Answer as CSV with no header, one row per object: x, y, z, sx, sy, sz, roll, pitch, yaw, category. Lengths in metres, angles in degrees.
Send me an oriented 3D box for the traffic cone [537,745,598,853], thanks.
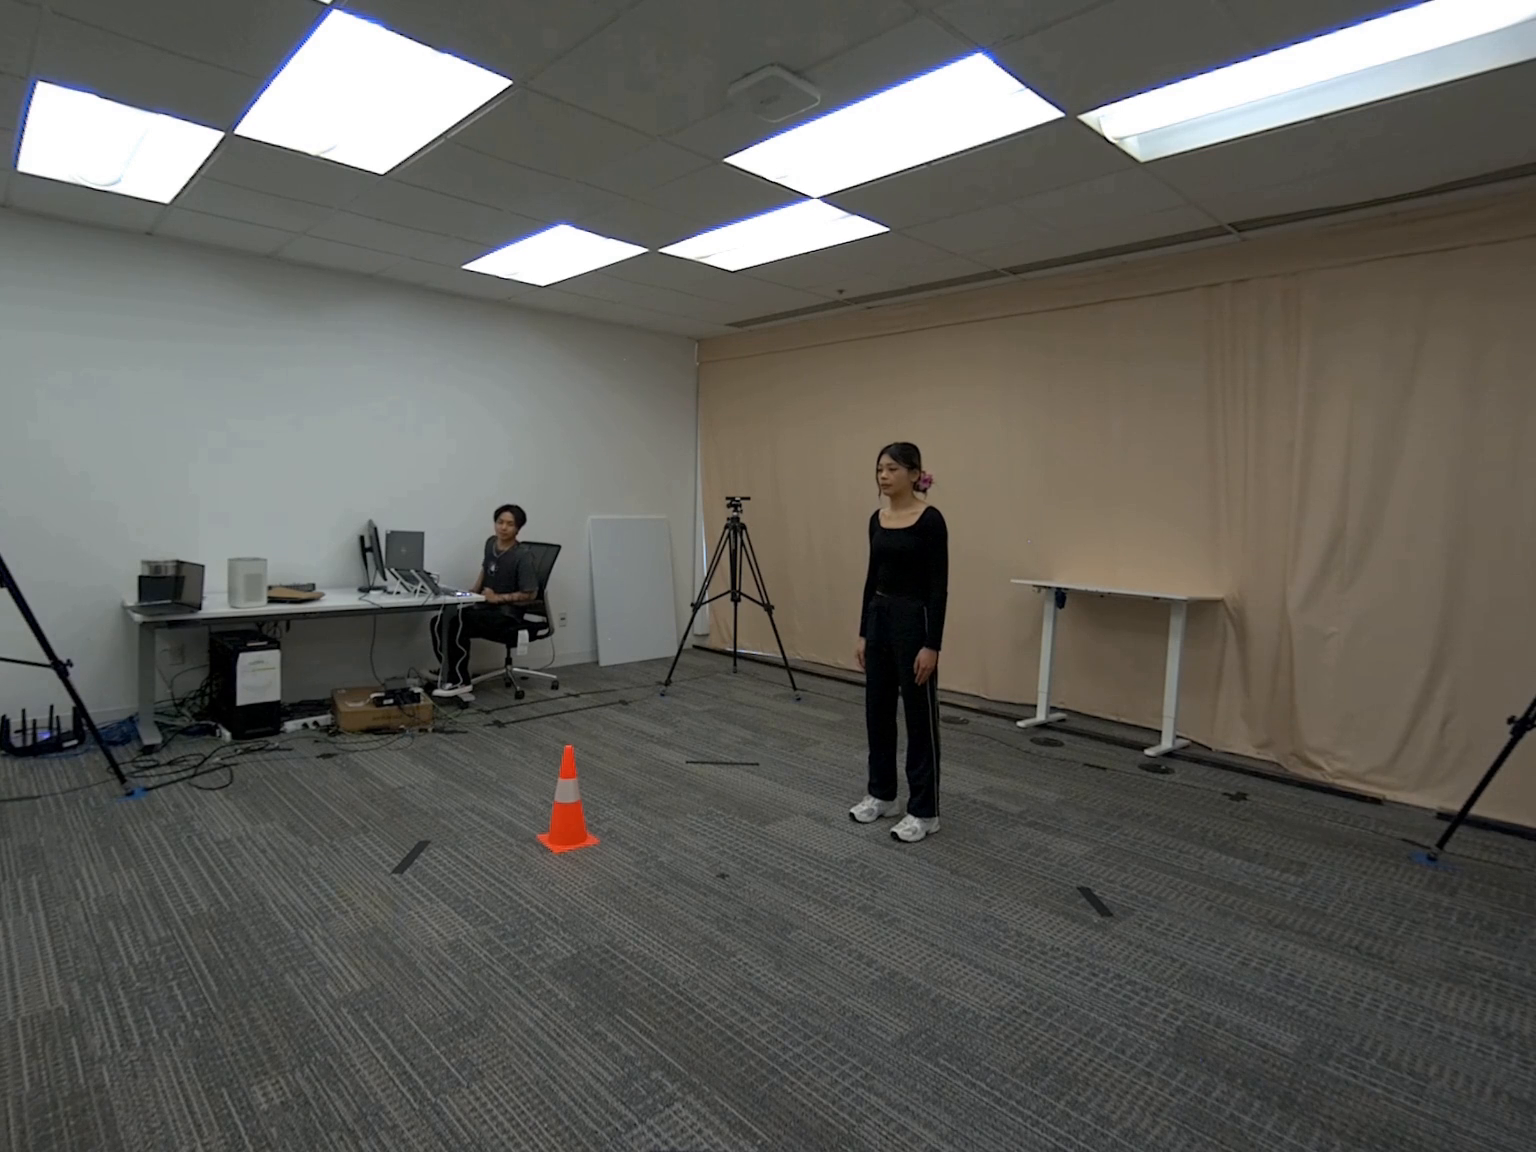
-0.815,0.881,3.399,0.200,0.383,0.208,0,4,-39,traffic cone
